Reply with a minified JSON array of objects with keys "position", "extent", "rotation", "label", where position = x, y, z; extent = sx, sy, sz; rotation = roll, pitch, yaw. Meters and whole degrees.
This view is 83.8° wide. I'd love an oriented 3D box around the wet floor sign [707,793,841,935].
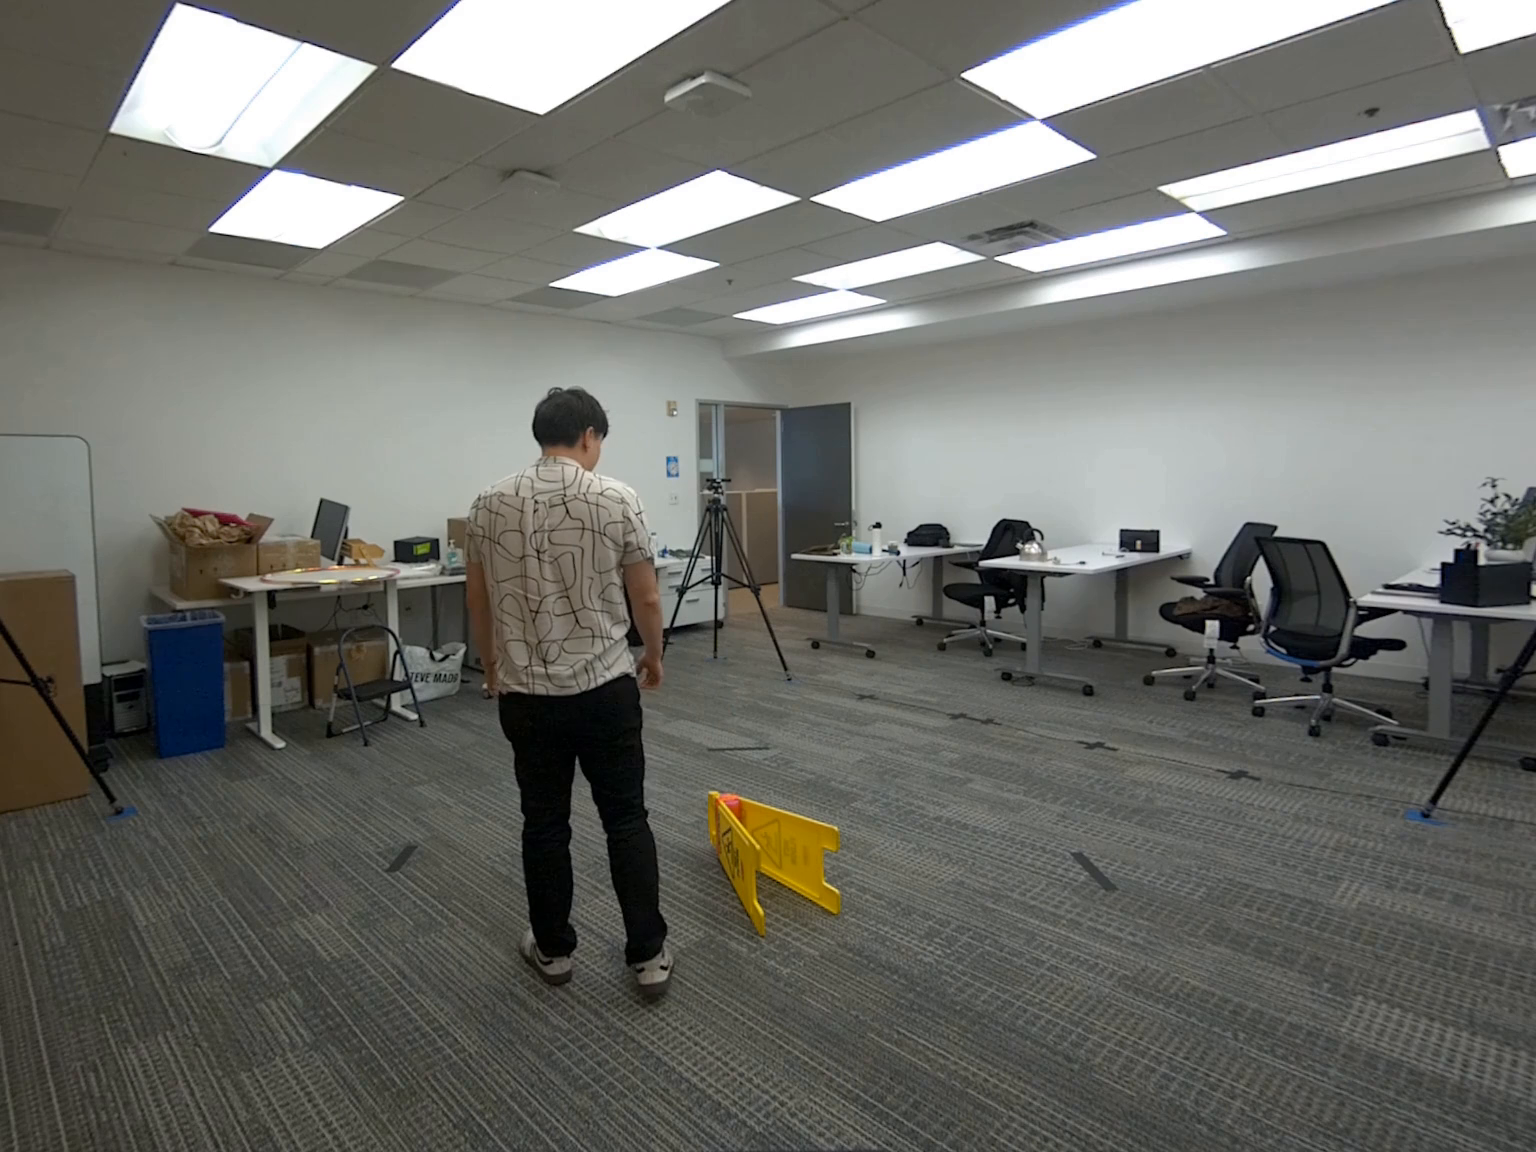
[{"position":[-0.057,0.930,2.948],"extent":[0.283,0.281,0.663],"rotation":[-4,5,-29],"label":"wet floor sign"}]
